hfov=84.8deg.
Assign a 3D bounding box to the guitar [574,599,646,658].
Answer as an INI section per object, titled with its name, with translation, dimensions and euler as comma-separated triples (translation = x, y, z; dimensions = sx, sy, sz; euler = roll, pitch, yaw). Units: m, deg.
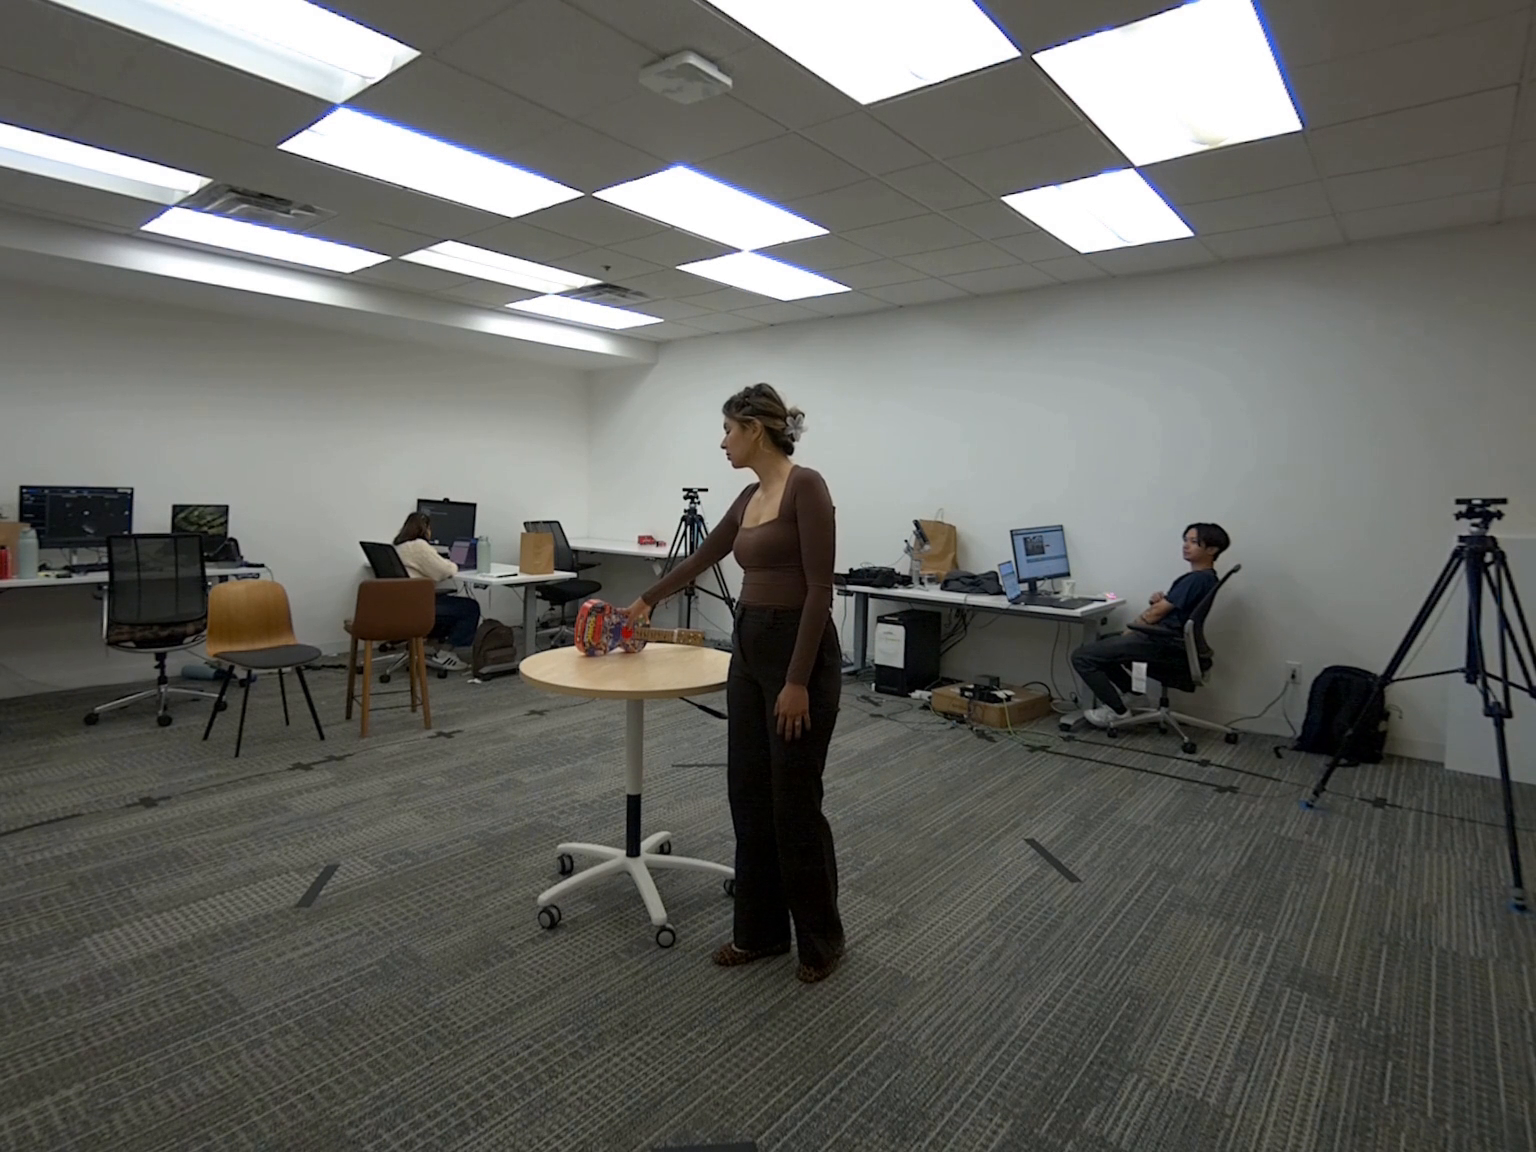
[guitar]
translation = -0.476, 0.230, 3.068
dimensions = 0.480, 0.193, 0.073
euler = 19, -4, -33
